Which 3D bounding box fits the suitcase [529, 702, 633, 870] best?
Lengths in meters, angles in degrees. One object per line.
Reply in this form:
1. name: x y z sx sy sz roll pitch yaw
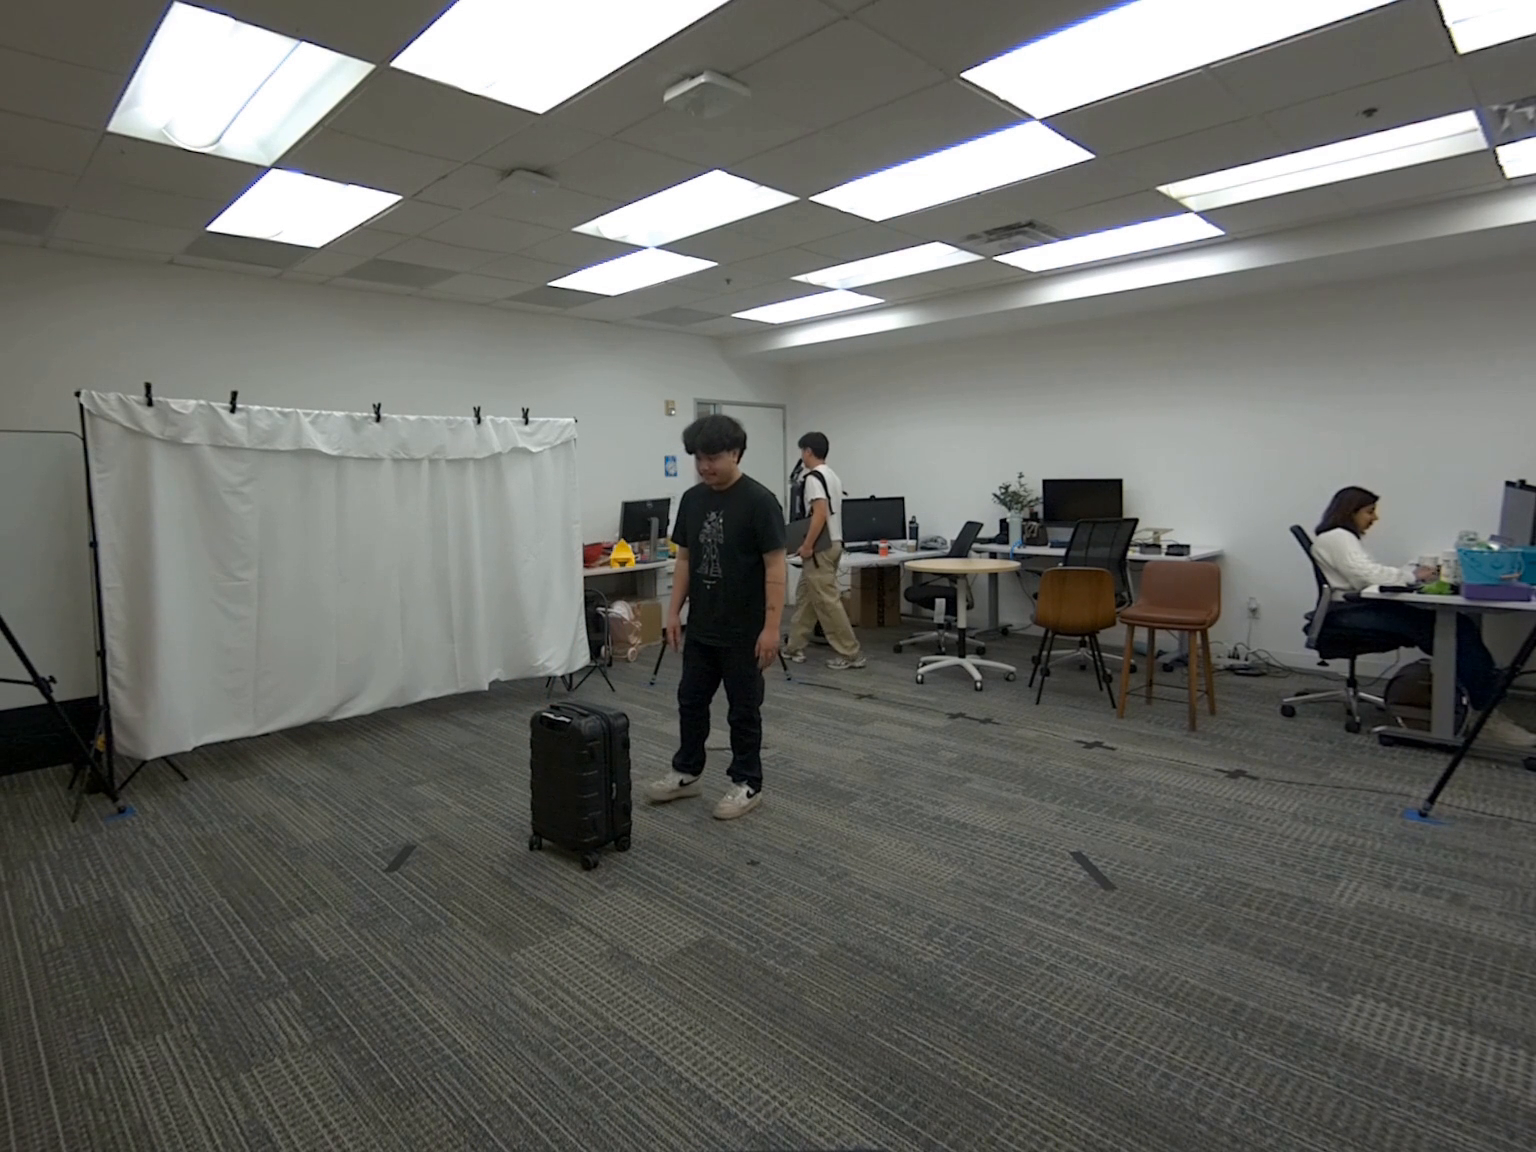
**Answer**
1. suitcase: -0.717 0.763 3.253 0.386 0.548 0.241 1 3 40
